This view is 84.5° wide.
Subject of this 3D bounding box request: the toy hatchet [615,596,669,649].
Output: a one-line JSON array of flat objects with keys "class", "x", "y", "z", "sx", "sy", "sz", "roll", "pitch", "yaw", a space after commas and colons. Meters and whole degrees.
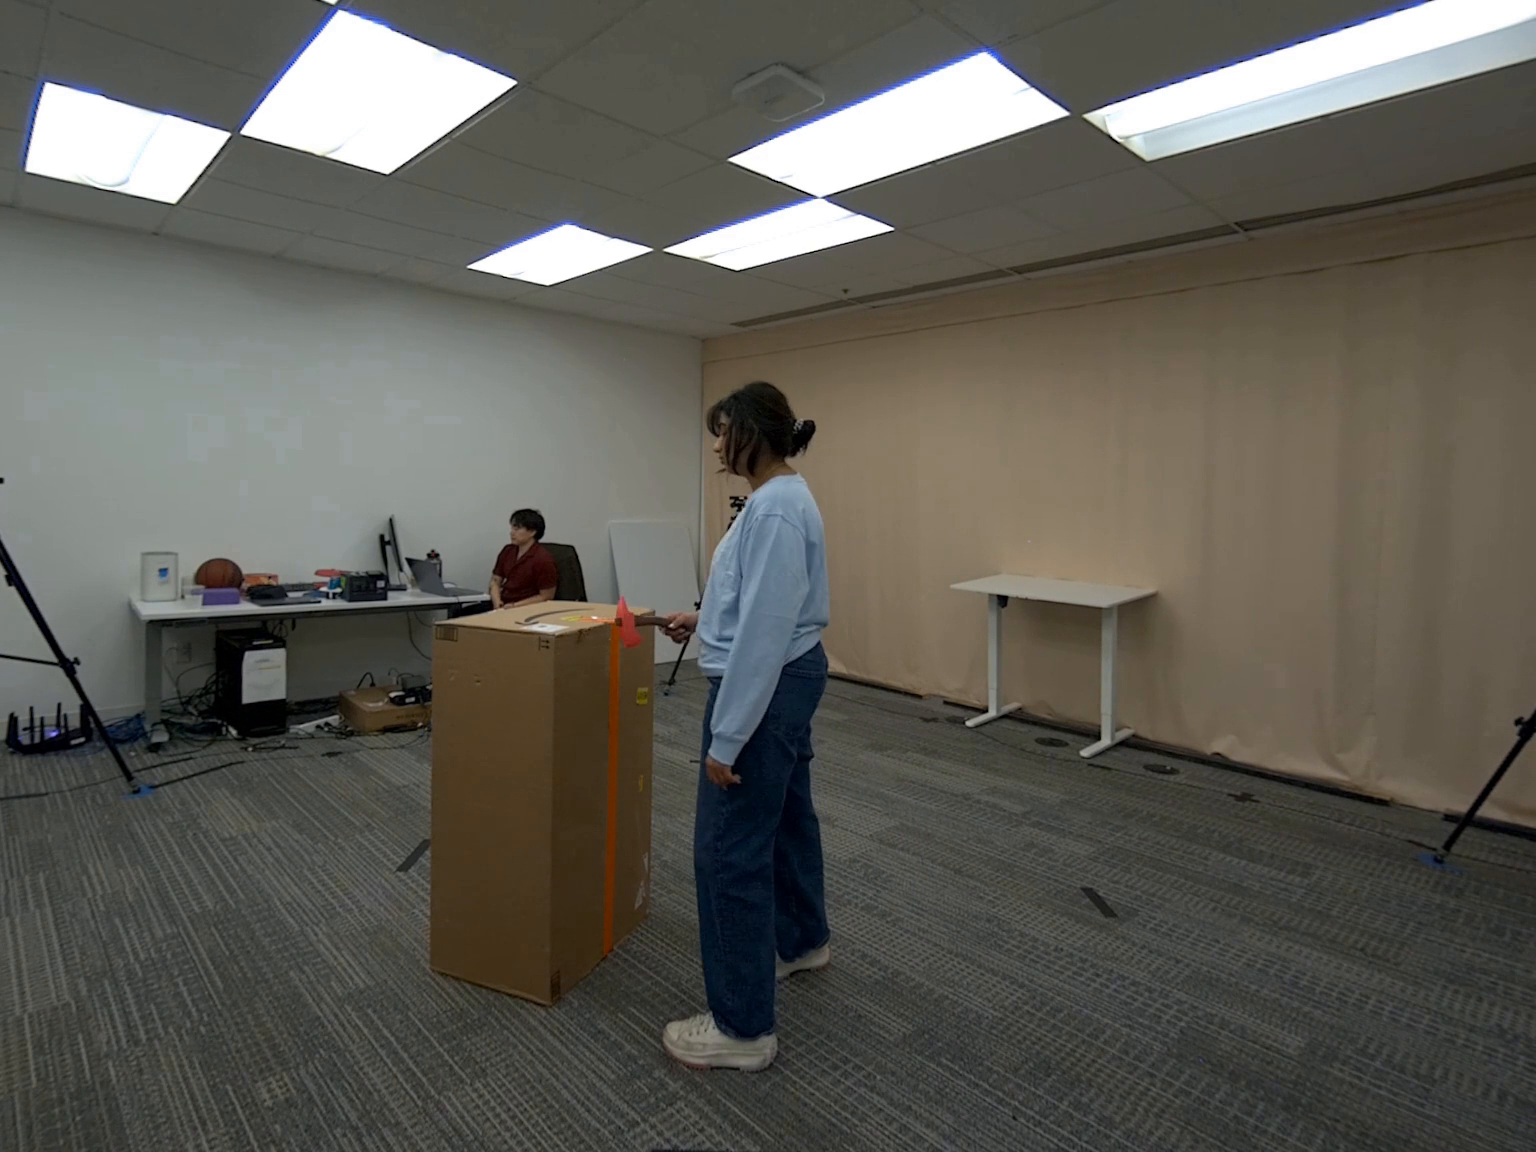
[{"class": "toy hatchet", "x": -0.314, "y": 0.159, "z": 2.249, "sx": 0.030, "sy": 0.133, "sz": 0.262, "roll": -19, "pitch": -35, "yaw": 38}]
